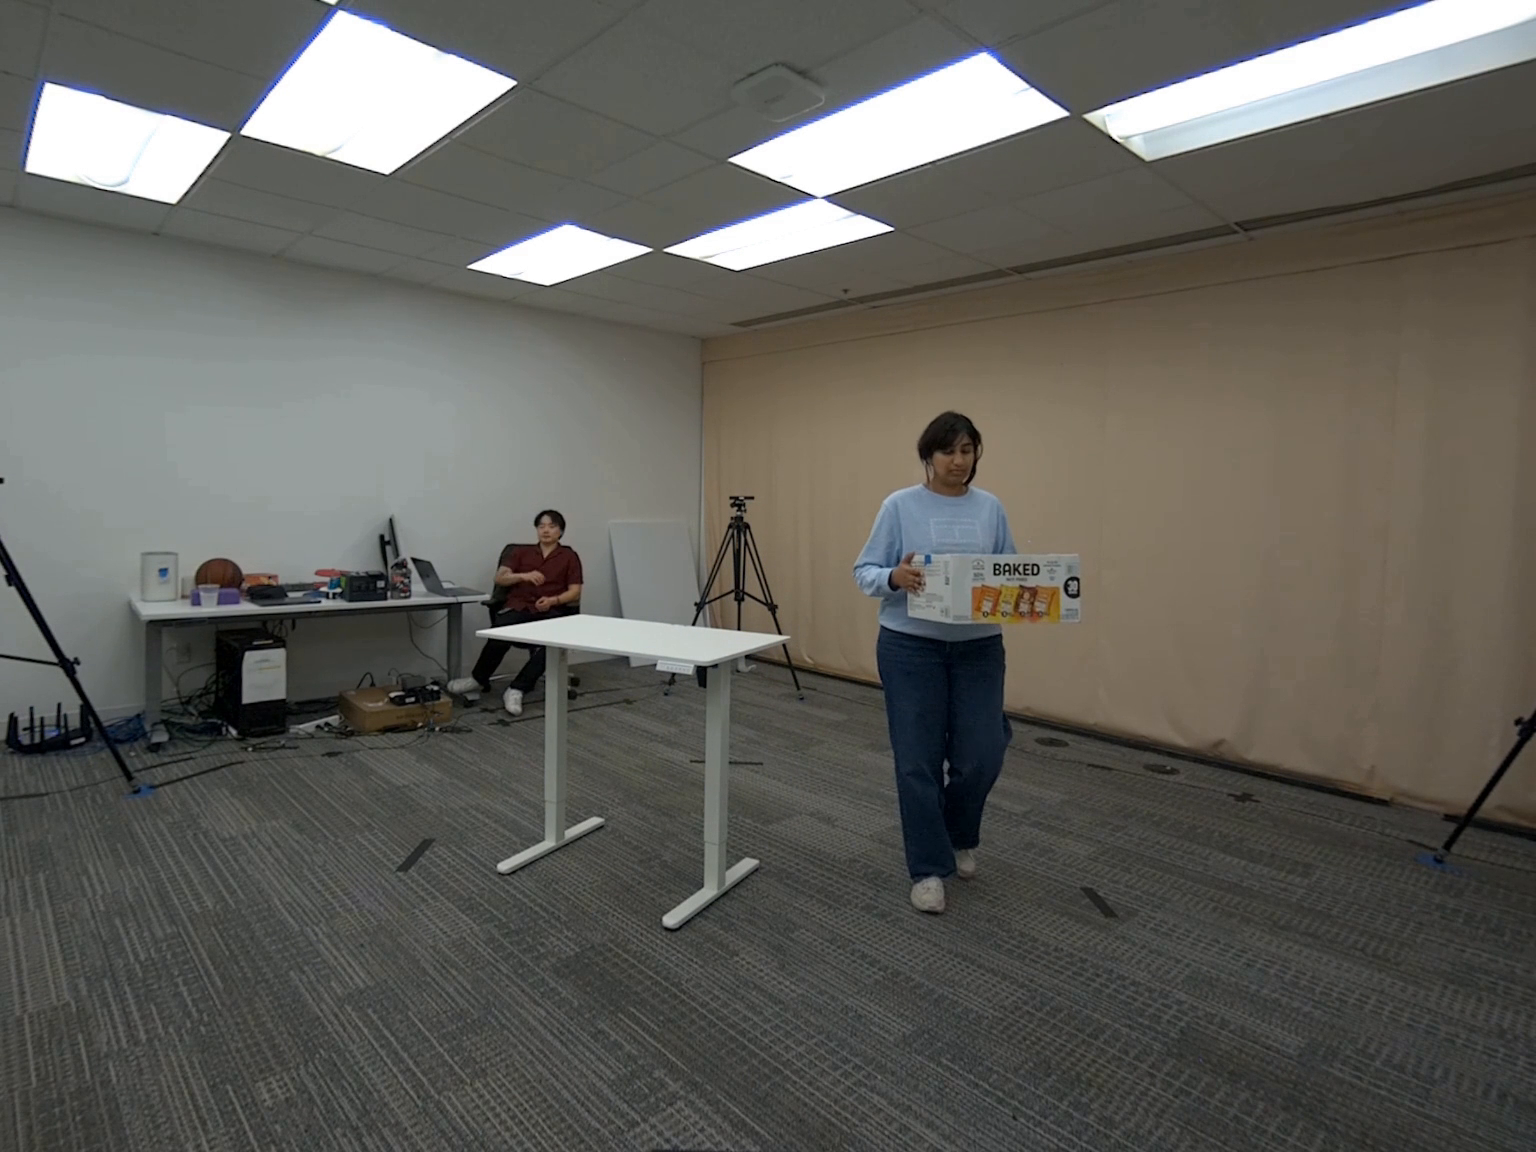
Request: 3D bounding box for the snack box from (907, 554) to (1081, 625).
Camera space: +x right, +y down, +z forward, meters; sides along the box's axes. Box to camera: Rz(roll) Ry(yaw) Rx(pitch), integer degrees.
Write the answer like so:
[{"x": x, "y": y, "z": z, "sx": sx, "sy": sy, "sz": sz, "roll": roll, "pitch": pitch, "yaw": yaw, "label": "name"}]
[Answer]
[{"x": 0.682, "y": 0.039, "z": 2.602, "sx": 0.402, "sy": 0.206, "sz": 0.343, "roll": 0, "pitch": 0, "yaw": -11, "label": "snack box"}]
